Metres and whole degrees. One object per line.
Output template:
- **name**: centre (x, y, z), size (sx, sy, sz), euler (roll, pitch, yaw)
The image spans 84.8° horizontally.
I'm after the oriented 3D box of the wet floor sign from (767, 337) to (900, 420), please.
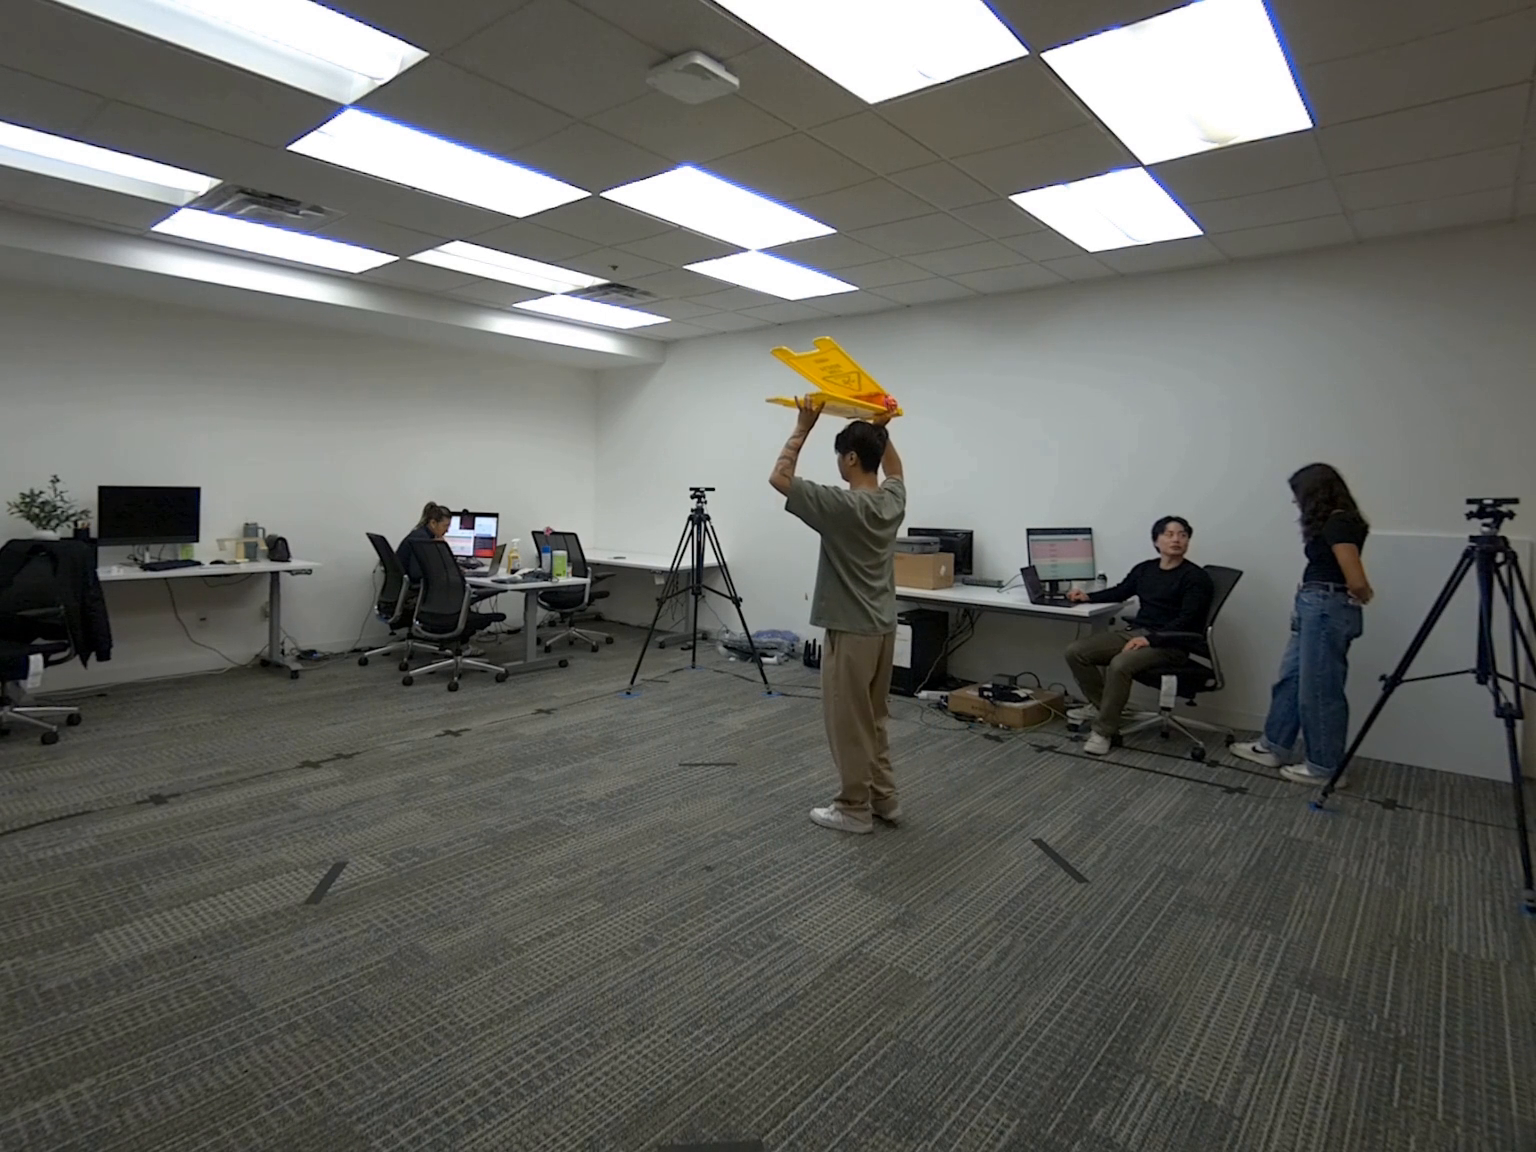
- **wet floor sign**: centre (0.297, -0.748, 3.482), size (0.291, 0.292, 0.622), euler (-2, -9, 40)
